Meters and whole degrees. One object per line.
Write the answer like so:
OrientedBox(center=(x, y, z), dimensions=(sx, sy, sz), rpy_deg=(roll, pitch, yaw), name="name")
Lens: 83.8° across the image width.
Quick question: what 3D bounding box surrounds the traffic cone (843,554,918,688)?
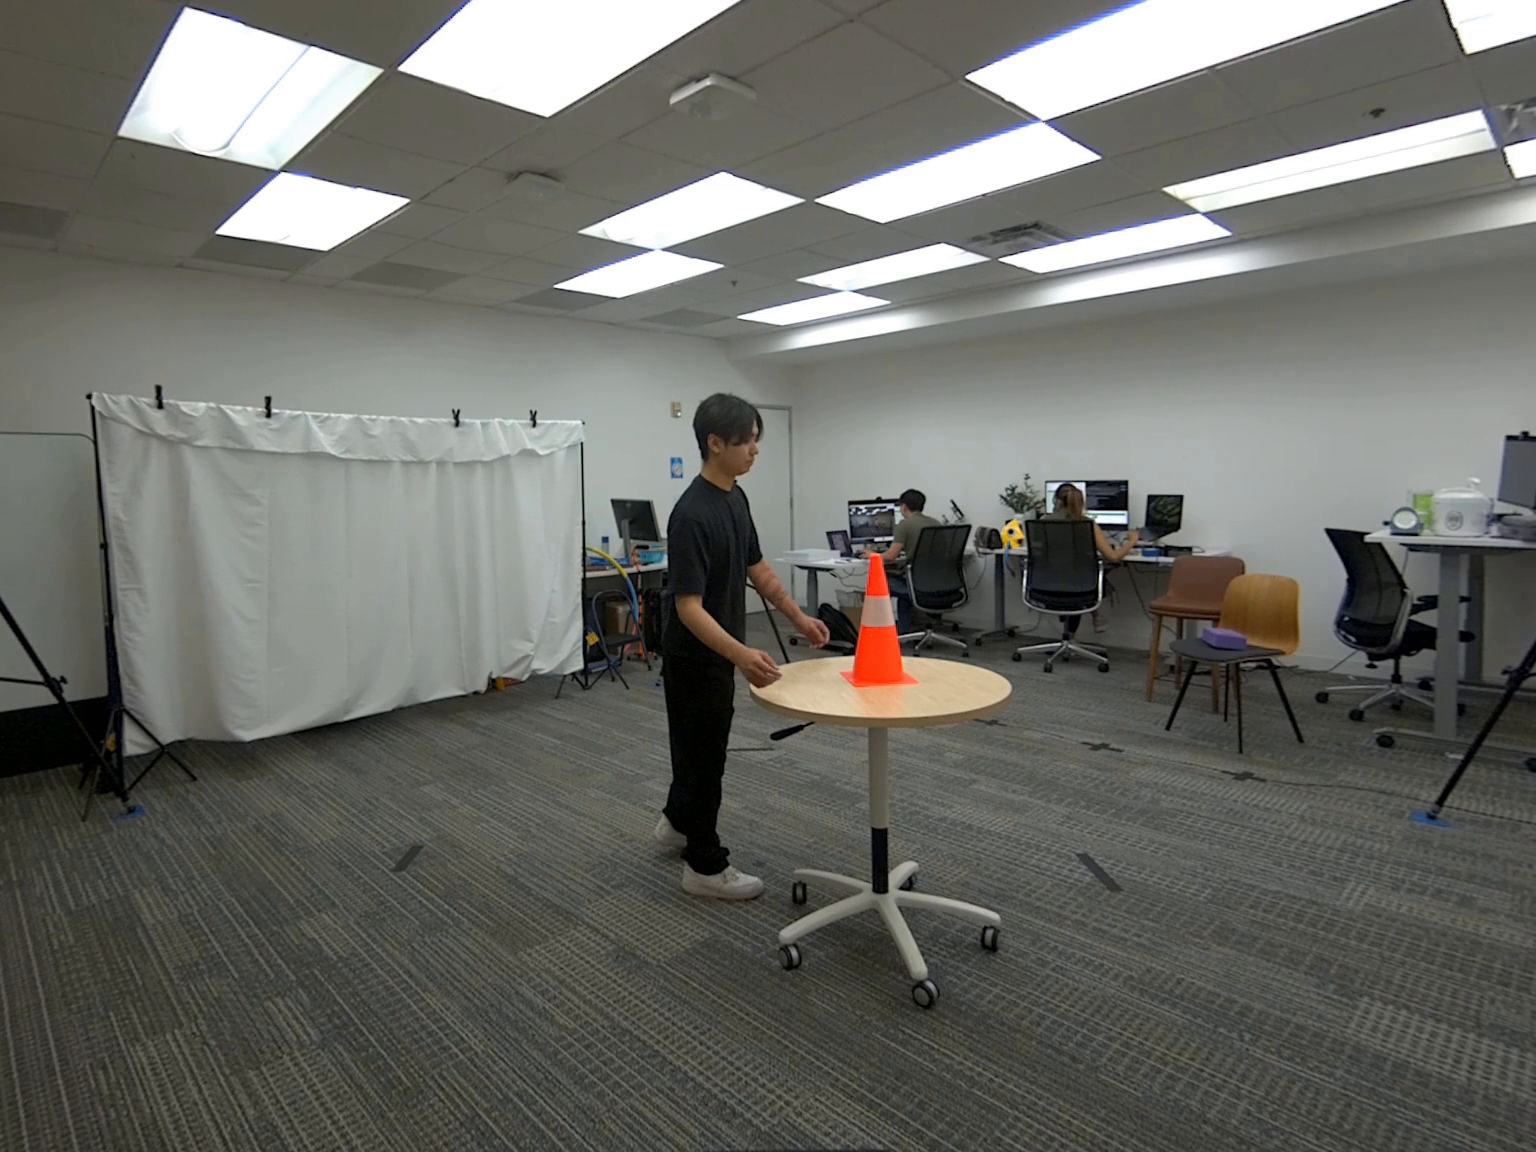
OrientedBox(center=(0.338, 0.130, 2.607), dimensions=(0.203, 0.382, 0.205), rpy_deg=(-3, 4, -8), name="traffic cone")
